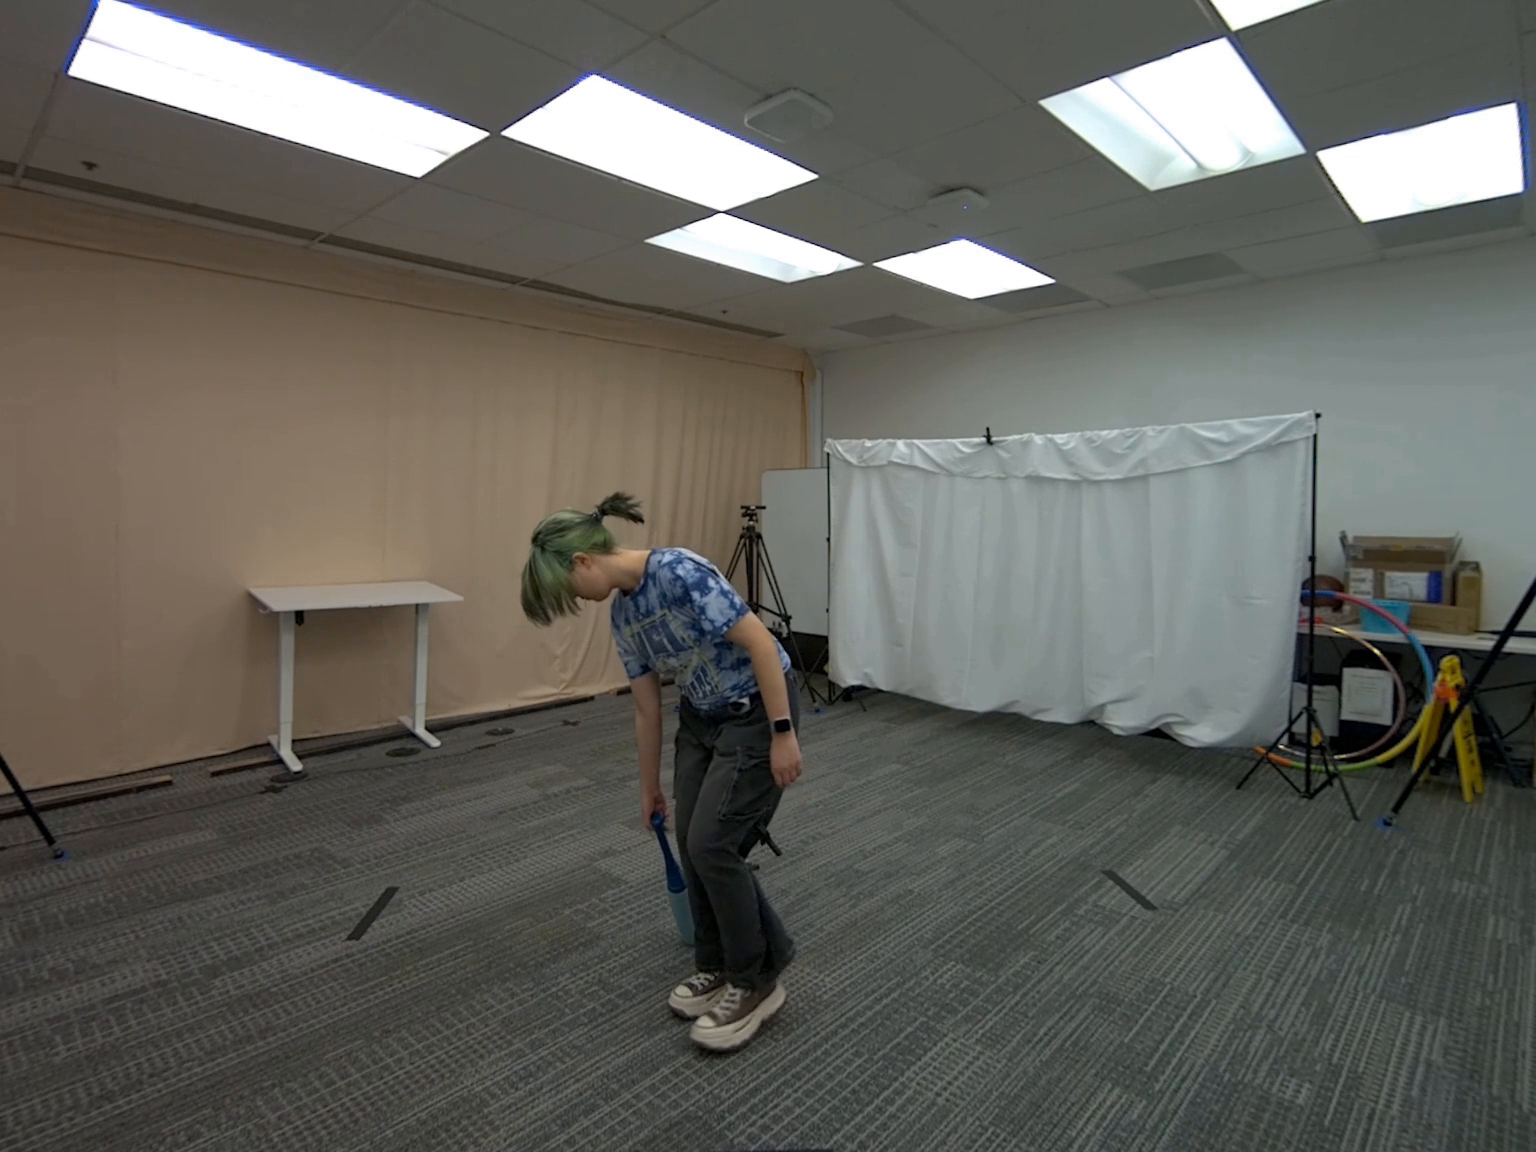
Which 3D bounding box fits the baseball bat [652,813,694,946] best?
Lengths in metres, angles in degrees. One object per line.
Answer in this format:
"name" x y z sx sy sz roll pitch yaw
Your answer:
"baseball bat" -0.282 0.937 2.561 0.089 0.531 0.090 -9 30 4
